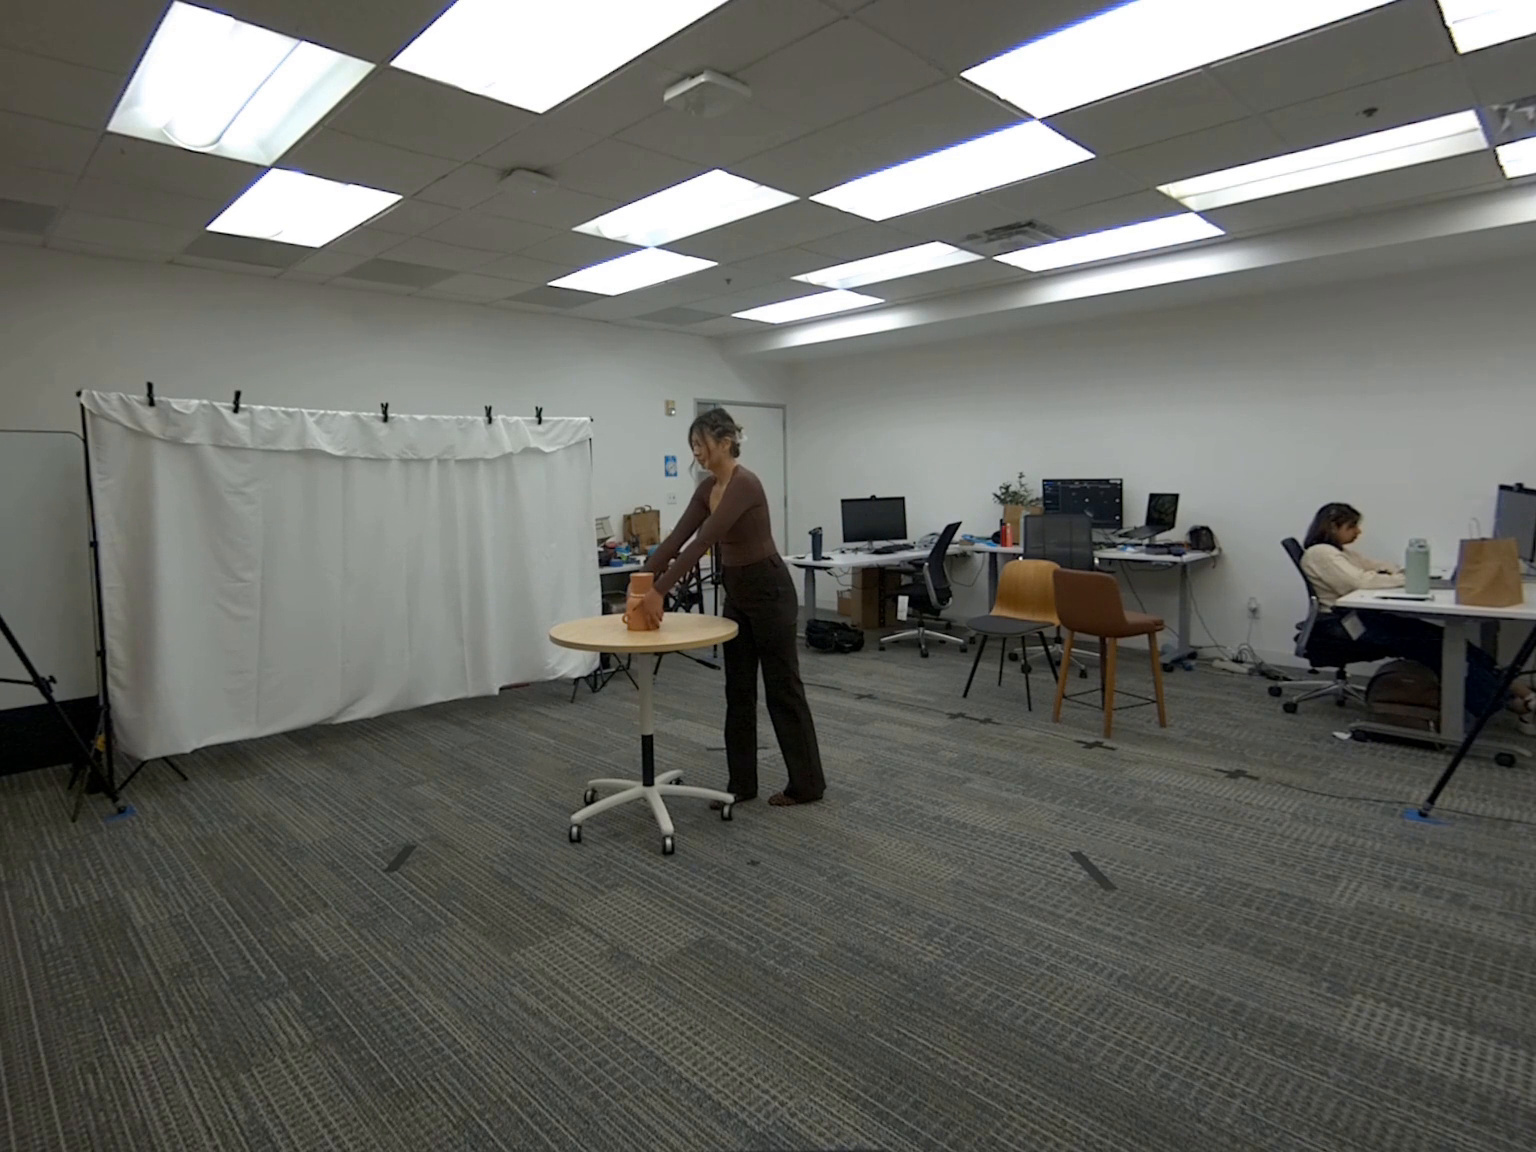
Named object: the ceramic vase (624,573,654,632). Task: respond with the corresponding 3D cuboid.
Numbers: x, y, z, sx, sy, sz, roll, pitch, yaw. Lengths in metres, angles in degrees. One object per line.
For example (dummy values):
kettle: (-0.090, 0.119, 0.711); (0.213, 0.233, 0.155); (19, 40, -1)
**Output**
ceramic vase: (-0.508, 0.102, 3.467); (0.136, 0.219, 0.157); (-2, 3, 12)
